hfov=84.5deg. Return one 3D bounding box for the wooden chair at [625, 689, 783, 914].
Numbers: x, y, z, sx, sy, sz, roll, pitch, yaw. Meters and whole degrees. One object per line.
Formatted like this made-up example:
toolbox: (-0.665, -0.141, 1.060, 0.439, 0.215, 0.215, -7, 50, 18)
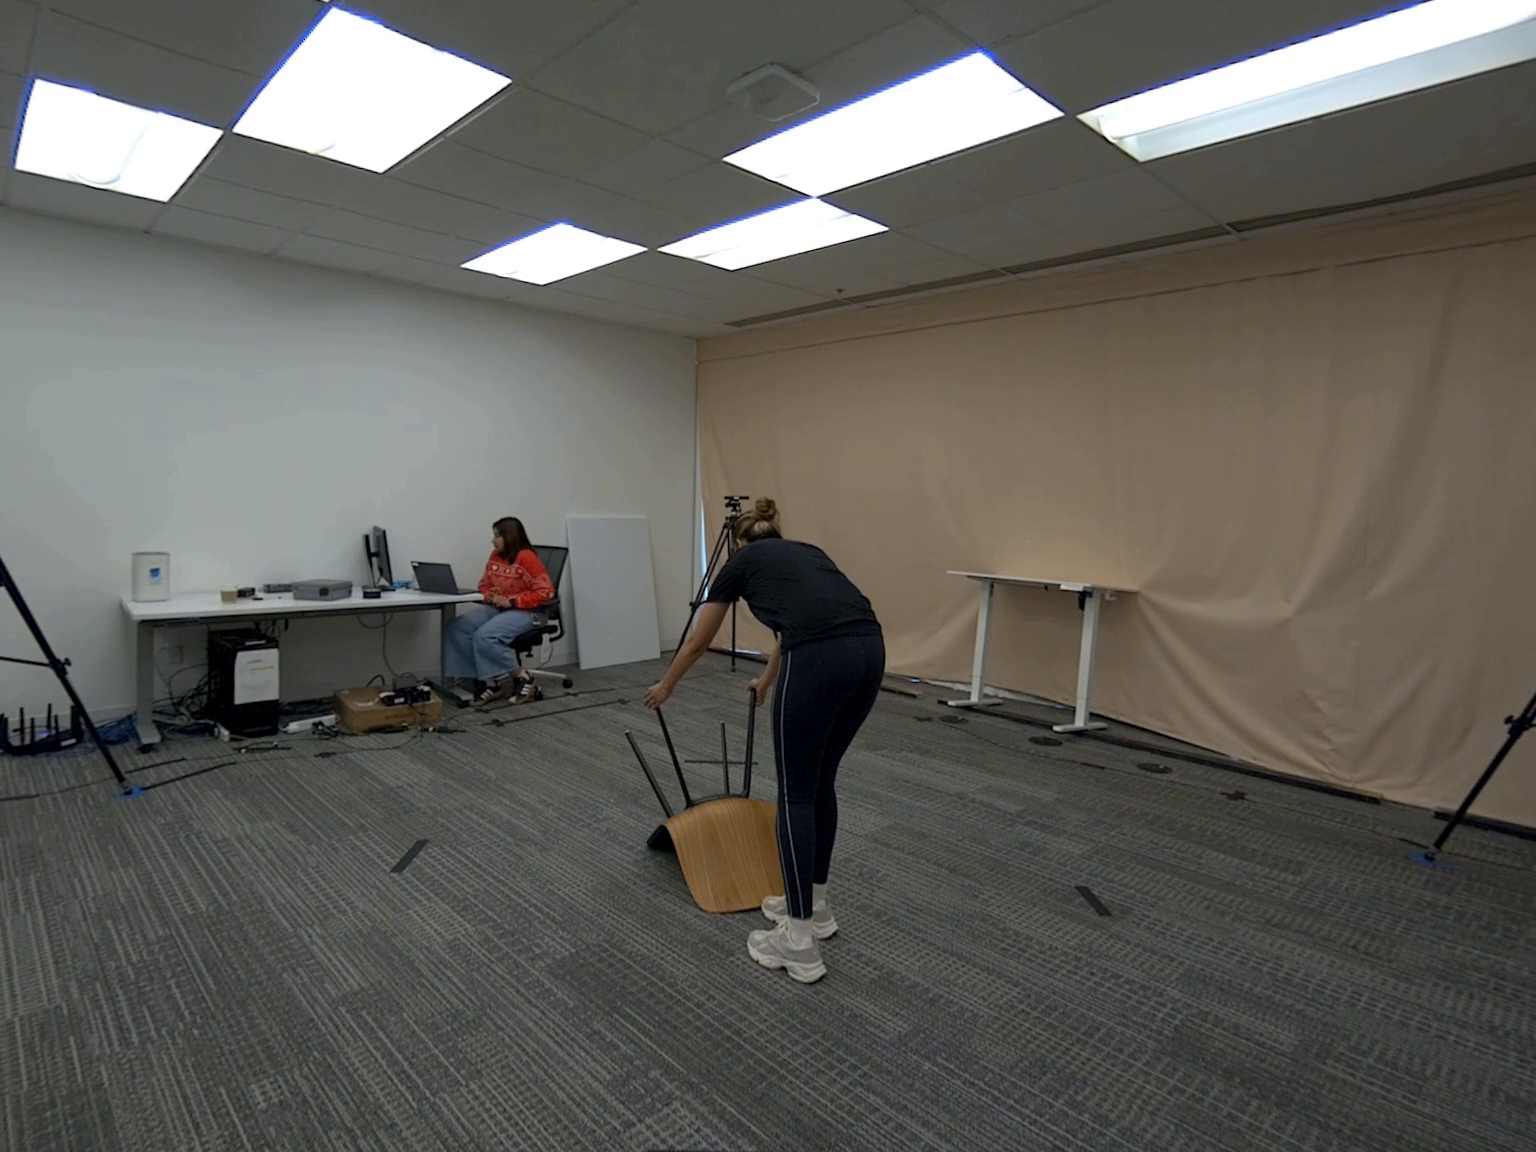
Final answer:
wooden chair: (-0.232, 0.915, 3.276, 0.470, 0.900, 0.518, -1, -36, -24)
